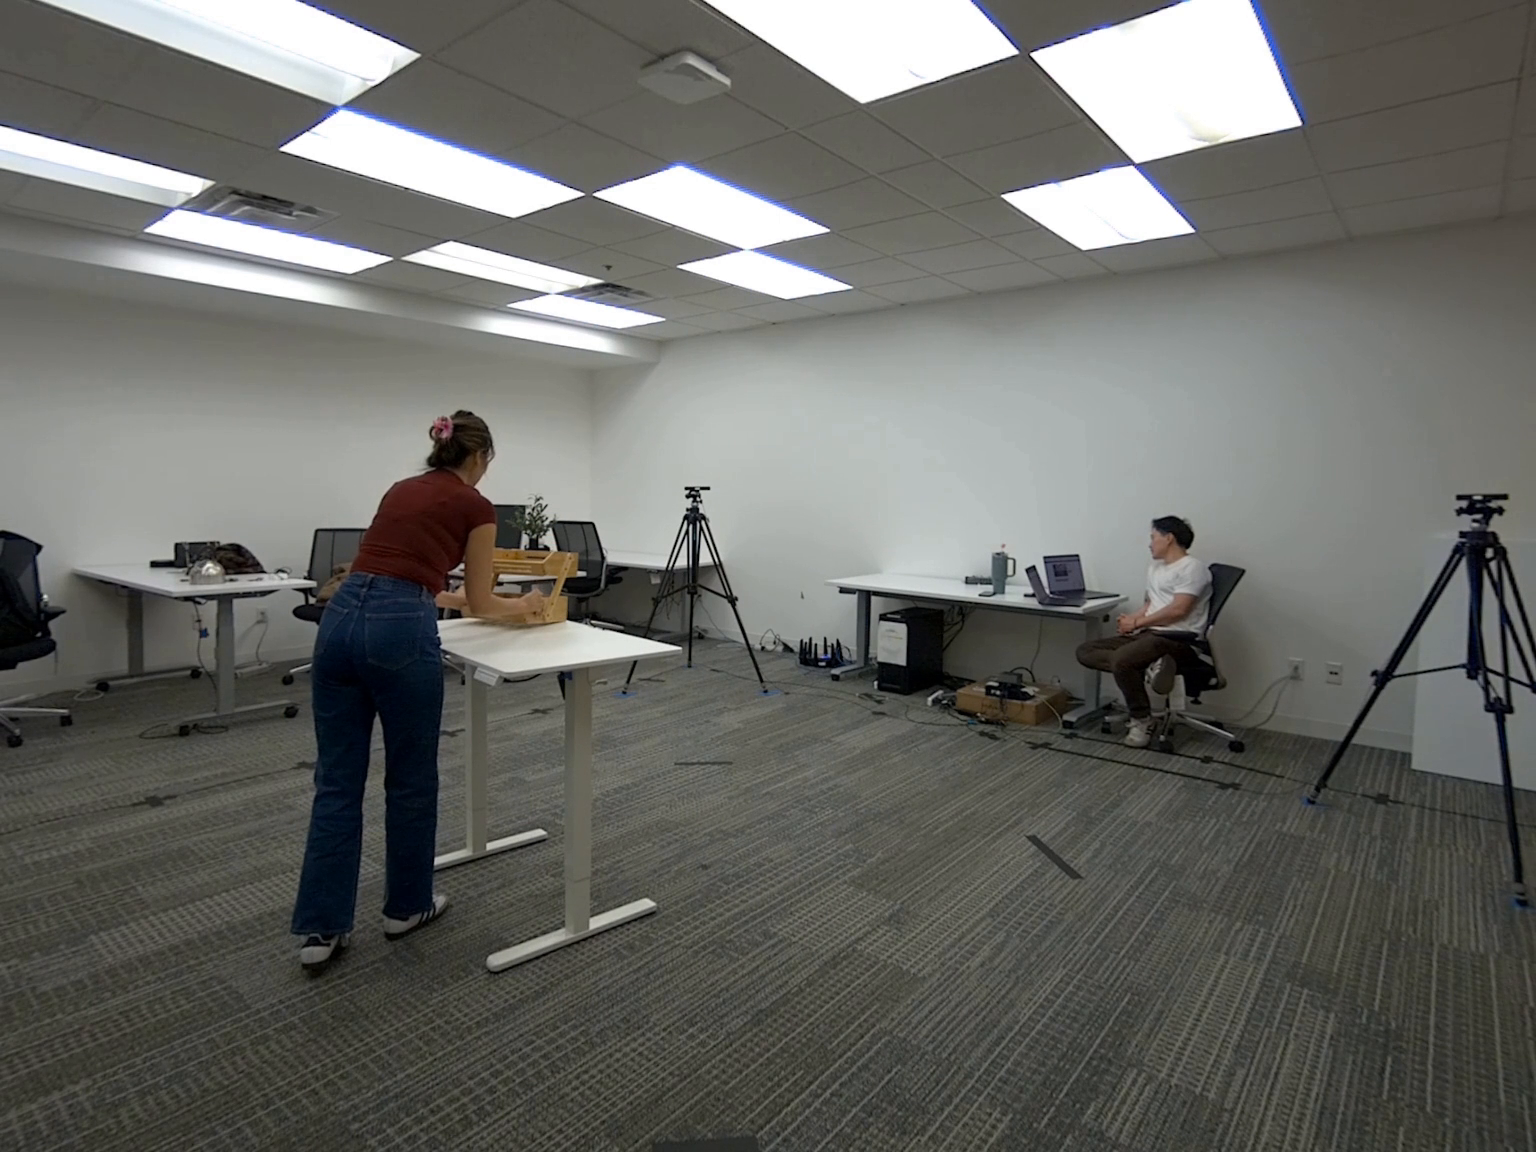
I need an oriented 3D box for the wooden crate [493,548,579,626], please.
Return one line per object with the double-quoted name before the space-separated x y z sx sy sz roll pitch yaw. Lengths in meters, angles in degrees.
"wooden crate" -0.947 0.029 3.185 0.333 0.274 0.294 3 -1 25
